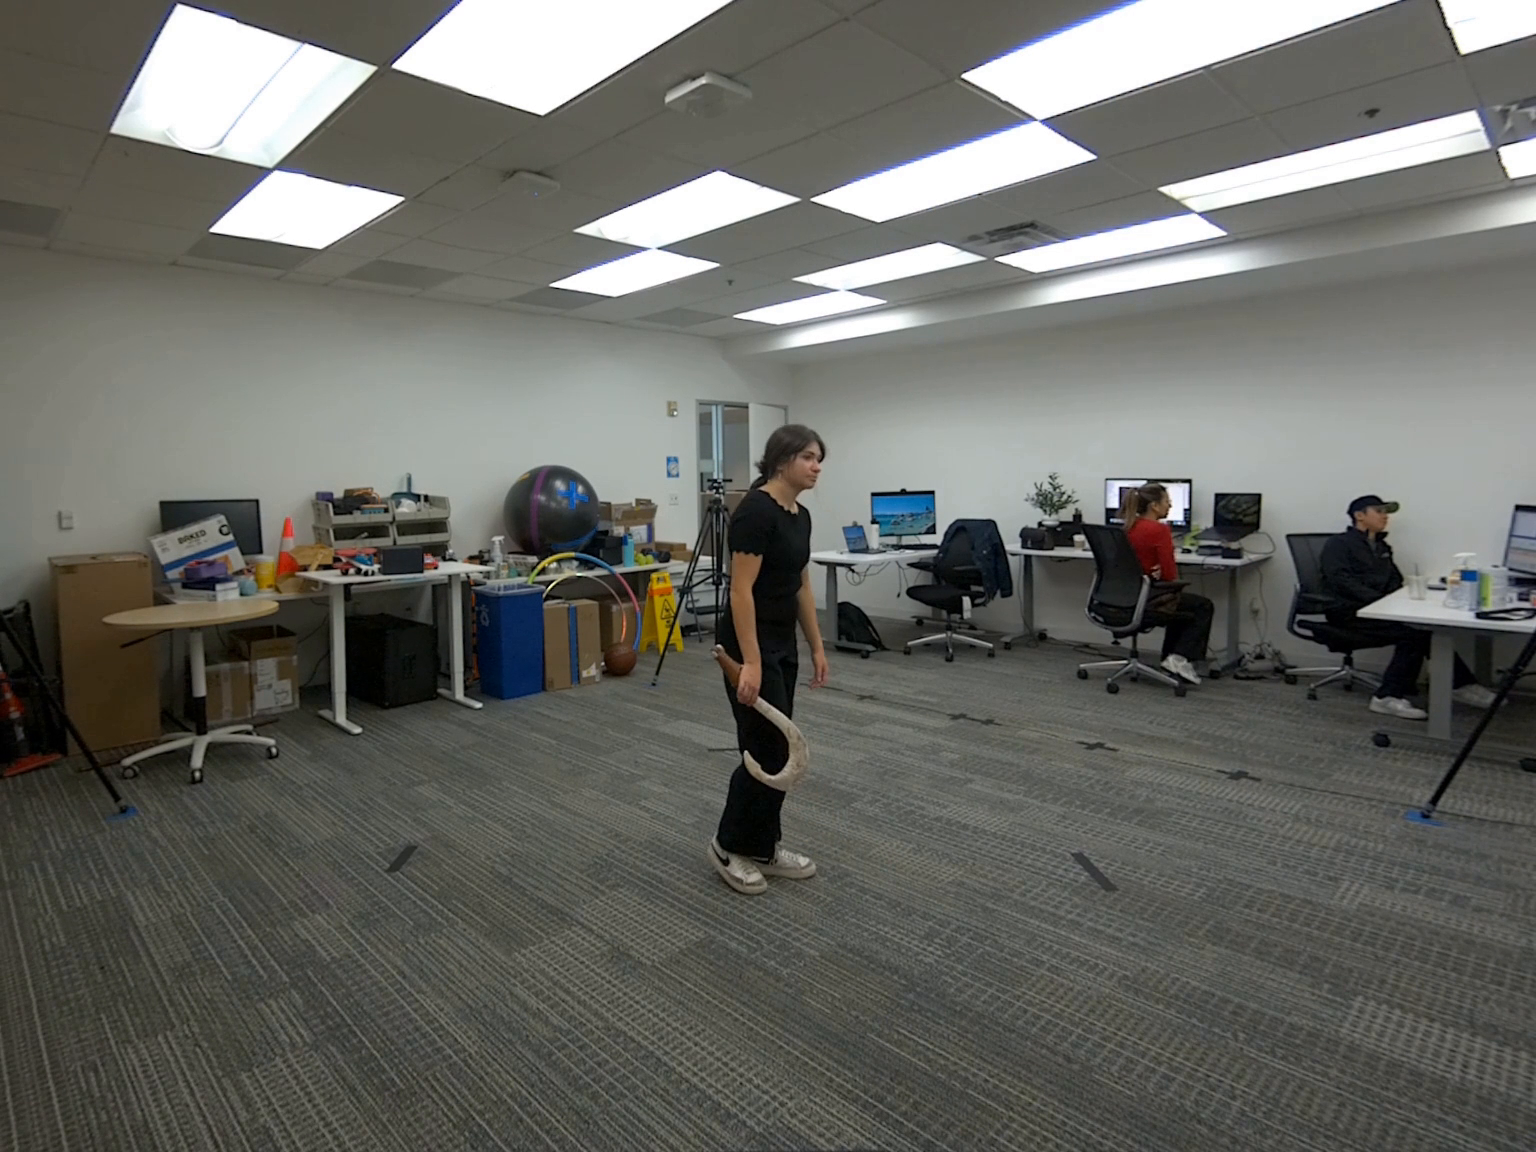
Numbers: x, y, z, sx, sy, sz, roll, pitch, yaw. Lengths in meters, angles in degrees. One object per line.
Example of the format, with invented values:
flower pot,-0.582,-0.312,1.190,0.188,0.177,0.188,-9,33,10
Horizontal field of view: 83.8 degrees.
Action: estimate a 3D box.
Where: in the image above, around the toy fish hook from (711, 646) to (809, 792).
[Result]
toy fish hook,-0.033,0.456,2.711,0.223,0.504,0.049,-40,5,-35
